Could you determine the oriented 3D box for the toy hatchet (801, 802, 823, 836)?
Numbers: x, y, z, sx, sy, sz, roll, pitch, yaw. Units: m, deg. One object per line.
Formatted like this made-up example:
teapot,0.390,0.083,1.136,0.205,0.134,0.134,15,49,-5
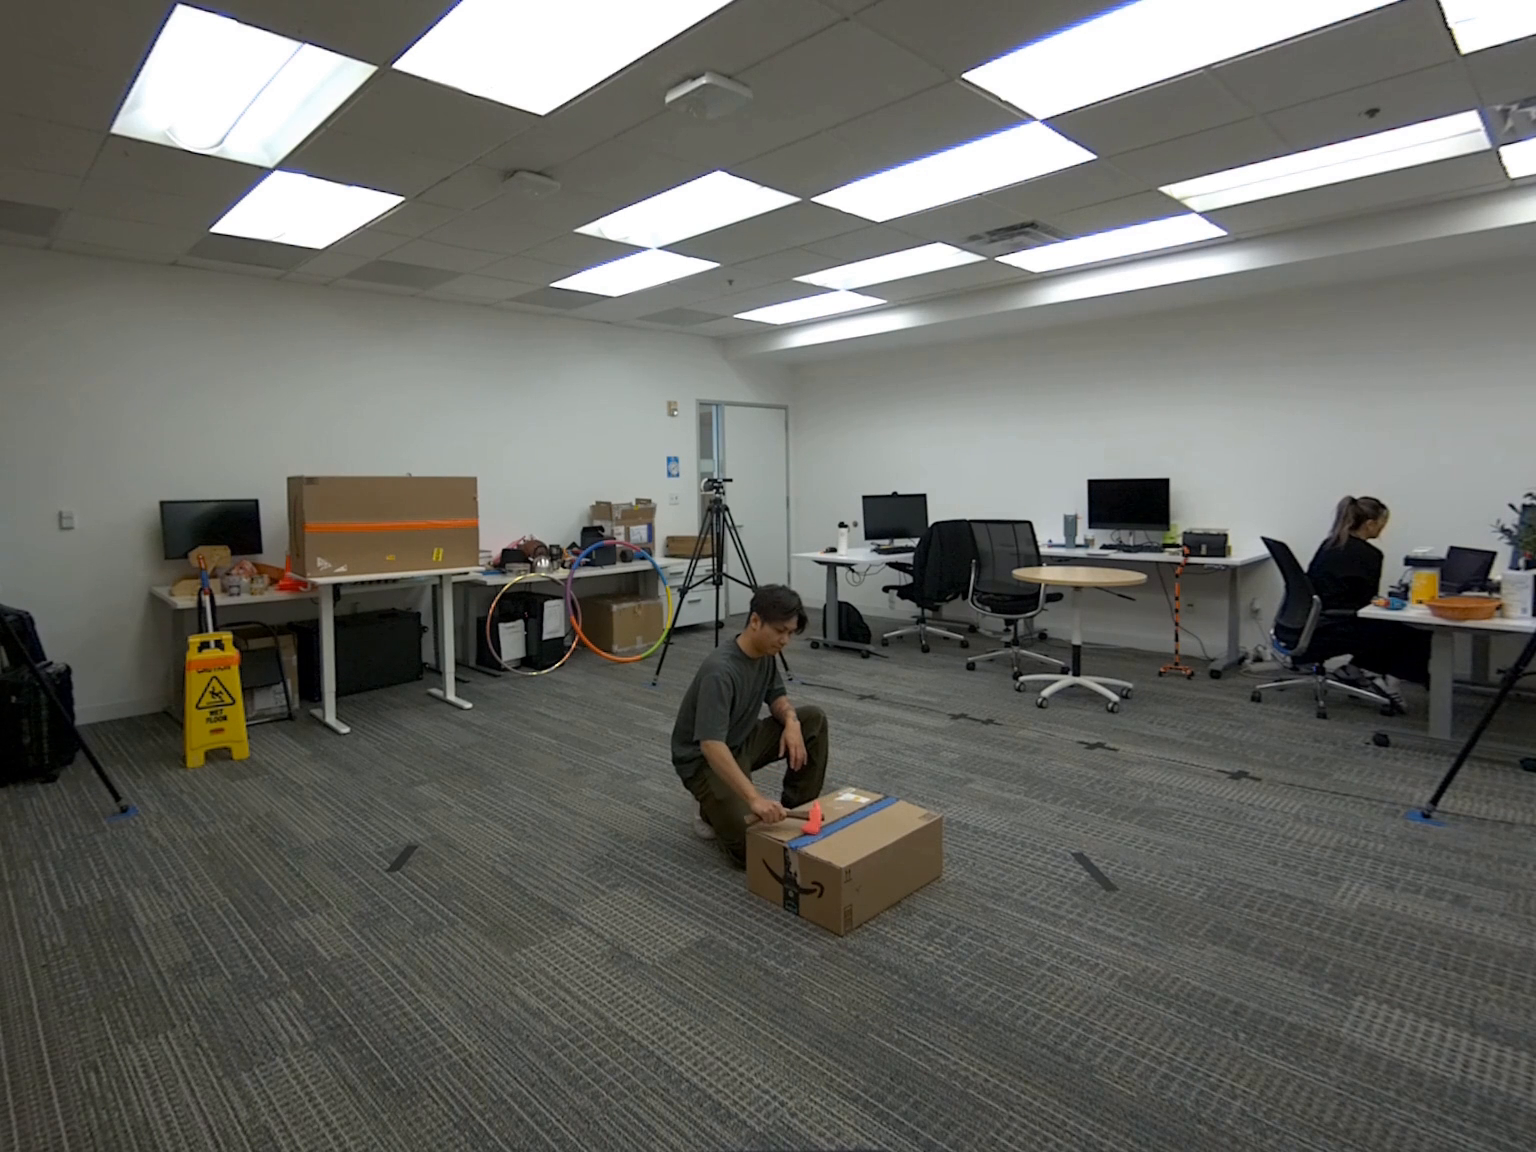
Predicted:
toy hatchet,0.042,0.831,2.856,0.268,0.029,0.136,-10,41,-9
